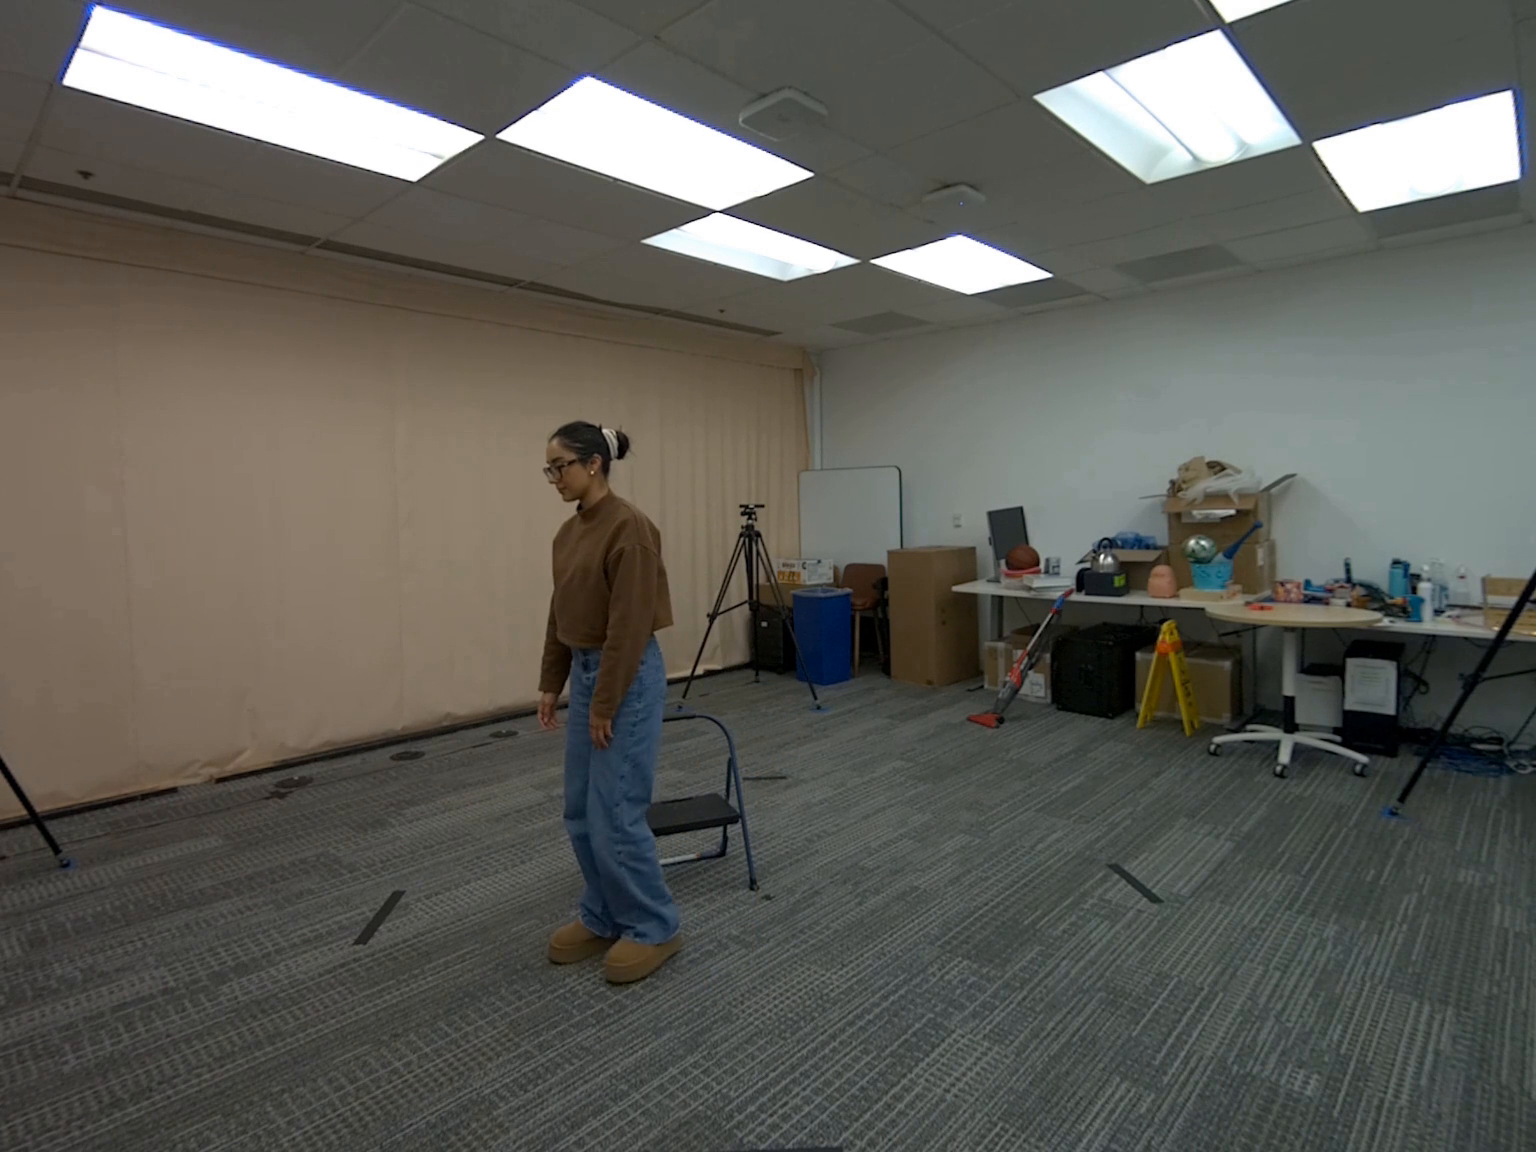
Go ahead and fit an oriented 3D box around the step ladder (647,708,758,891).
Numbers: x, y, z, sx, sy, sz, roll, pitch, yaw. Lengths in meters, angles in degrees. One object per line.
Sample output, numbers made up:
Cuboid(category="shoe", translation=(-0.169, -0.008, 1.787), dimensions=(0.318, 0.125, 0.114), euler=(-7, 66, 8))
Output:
Cuboid(category="step ladder", translation=(-0.297, 0.832, 3.118), dimensions=(0.421, 0.605, 0.357), euler=(-2, 3, -22))
